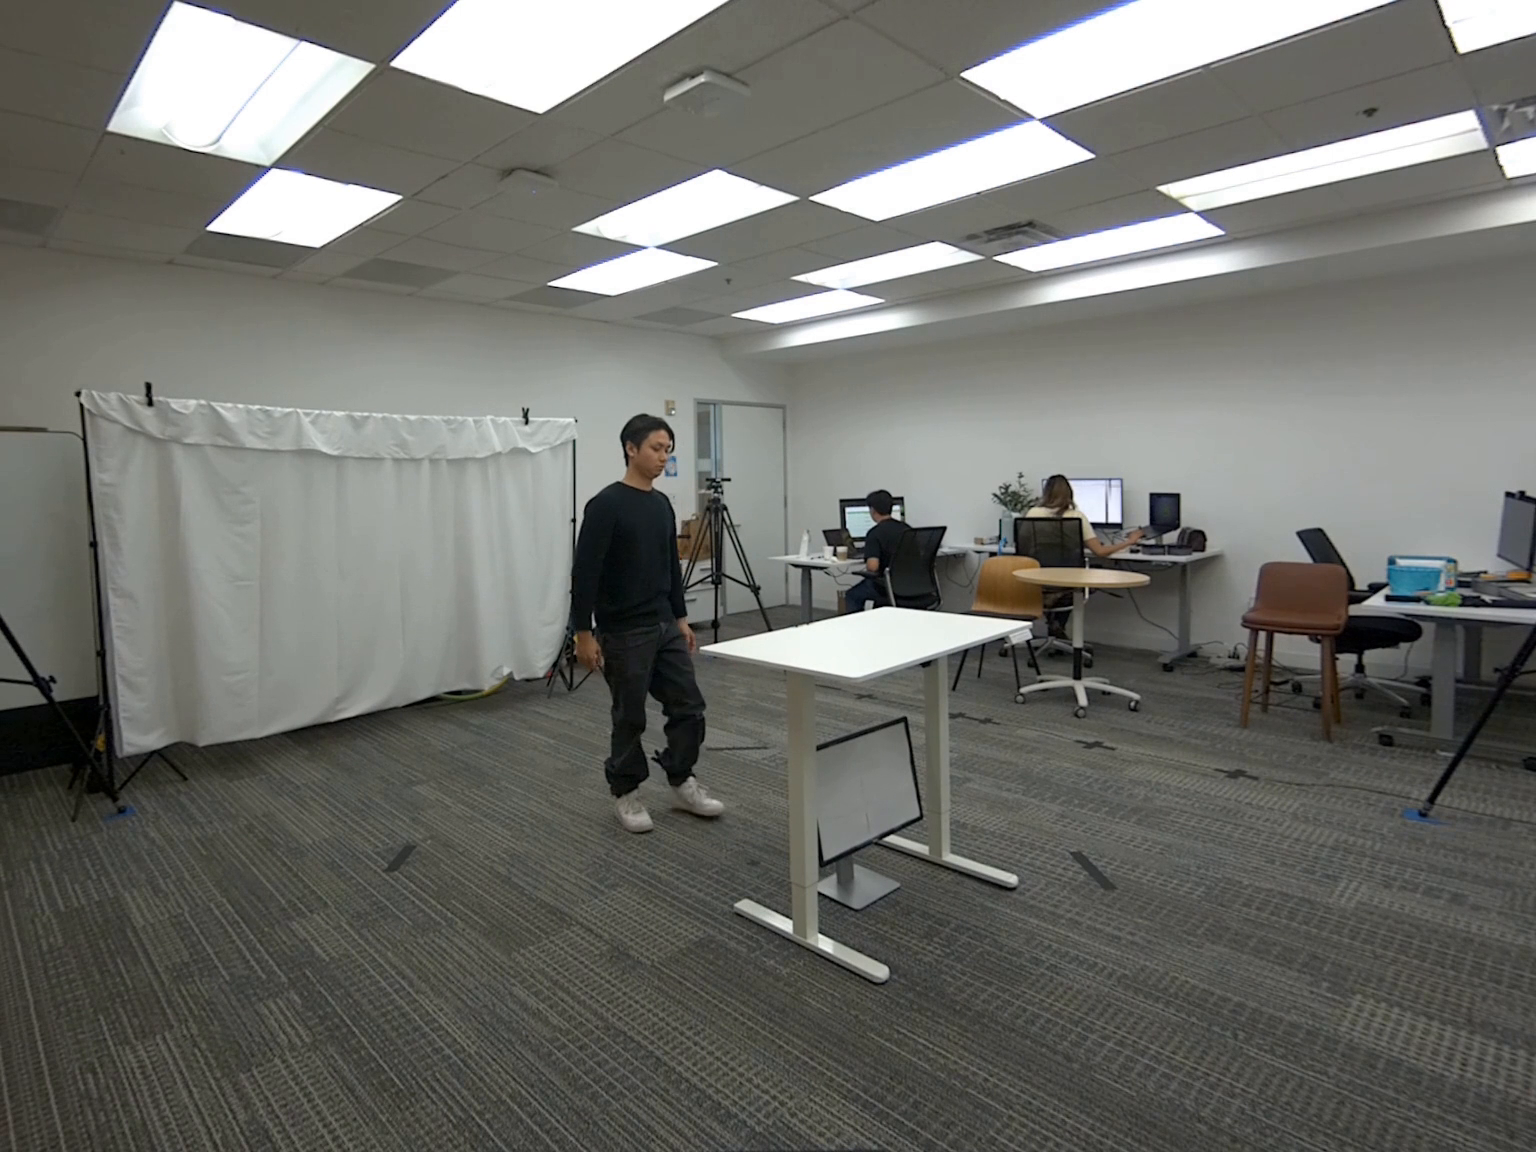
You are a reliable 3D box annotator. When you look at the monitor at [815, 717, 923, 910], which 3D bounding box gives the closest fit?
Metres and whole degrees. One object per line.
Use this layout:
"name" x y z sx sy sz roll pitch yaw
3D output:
"monitor" 0.302 0.787 2.878 0.180 0.512 0.516 12 11 43
